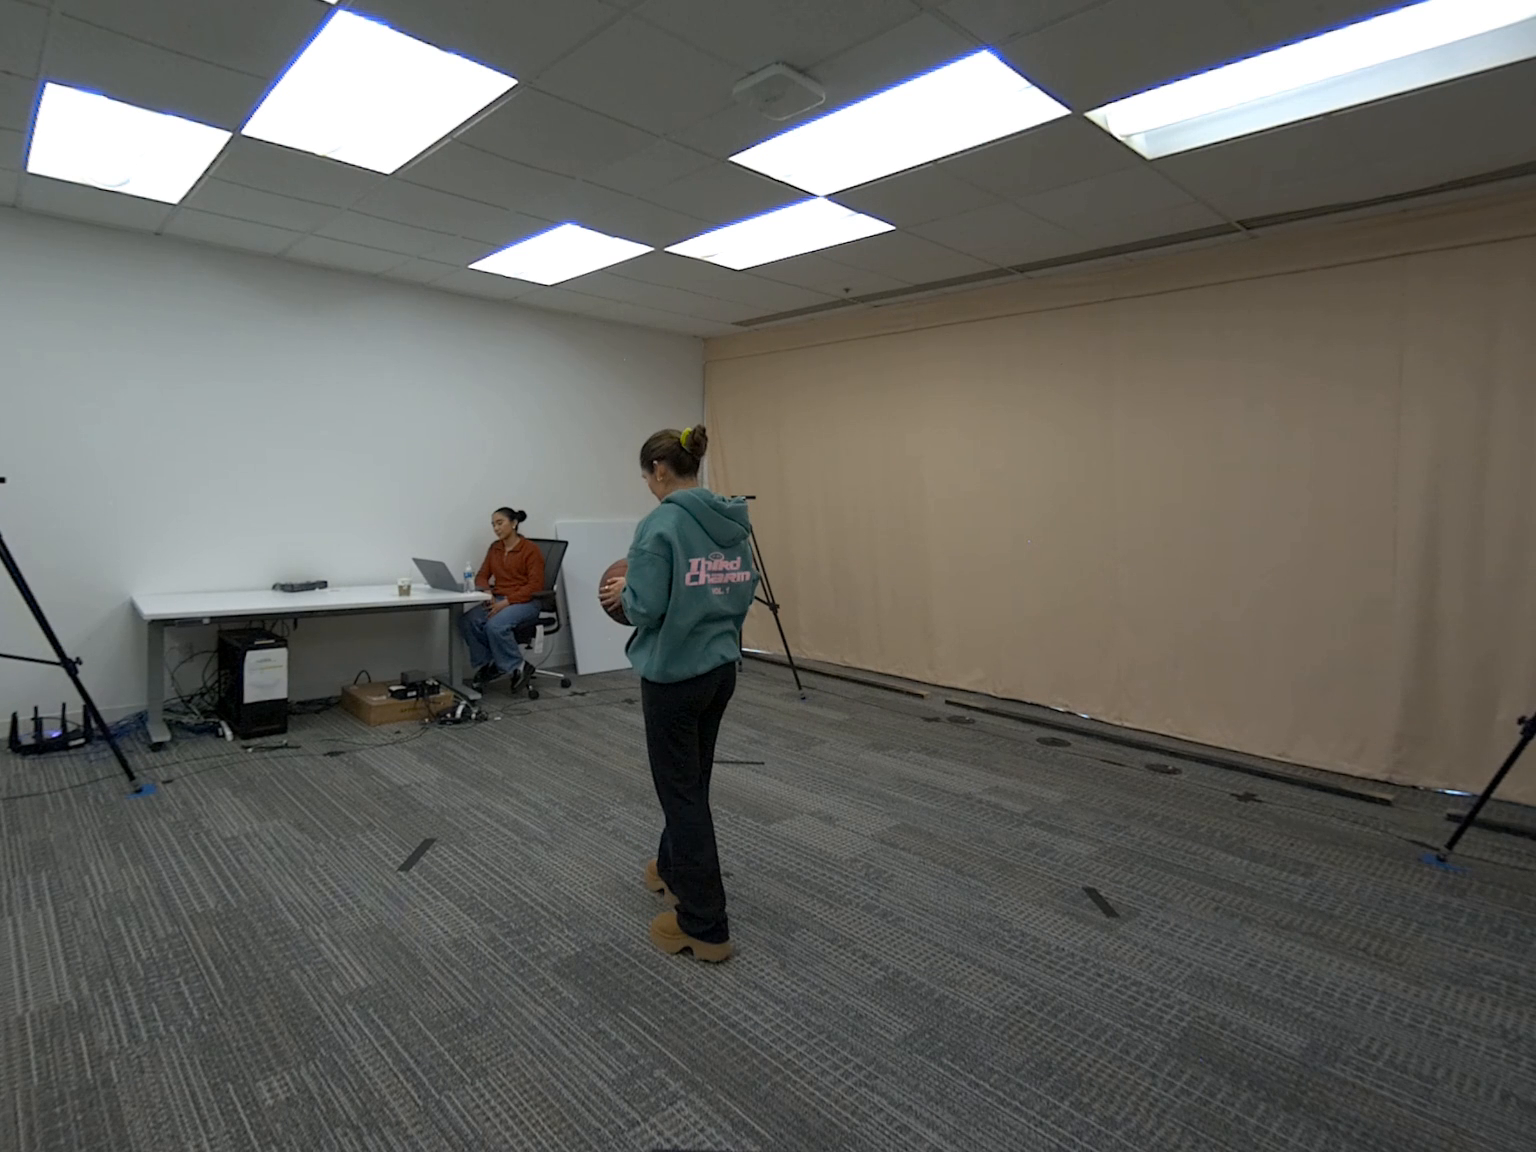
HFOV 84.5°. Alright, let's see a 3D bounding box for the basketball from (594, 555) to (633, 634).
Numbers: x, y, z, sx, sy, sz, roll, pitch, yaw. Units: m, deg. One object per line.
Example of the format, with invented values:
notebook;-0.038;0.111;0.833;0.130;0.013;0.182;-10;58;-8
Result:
basketball;-0.449;0.057;2.861;0.236;0.235;0.237;1;4;-1
